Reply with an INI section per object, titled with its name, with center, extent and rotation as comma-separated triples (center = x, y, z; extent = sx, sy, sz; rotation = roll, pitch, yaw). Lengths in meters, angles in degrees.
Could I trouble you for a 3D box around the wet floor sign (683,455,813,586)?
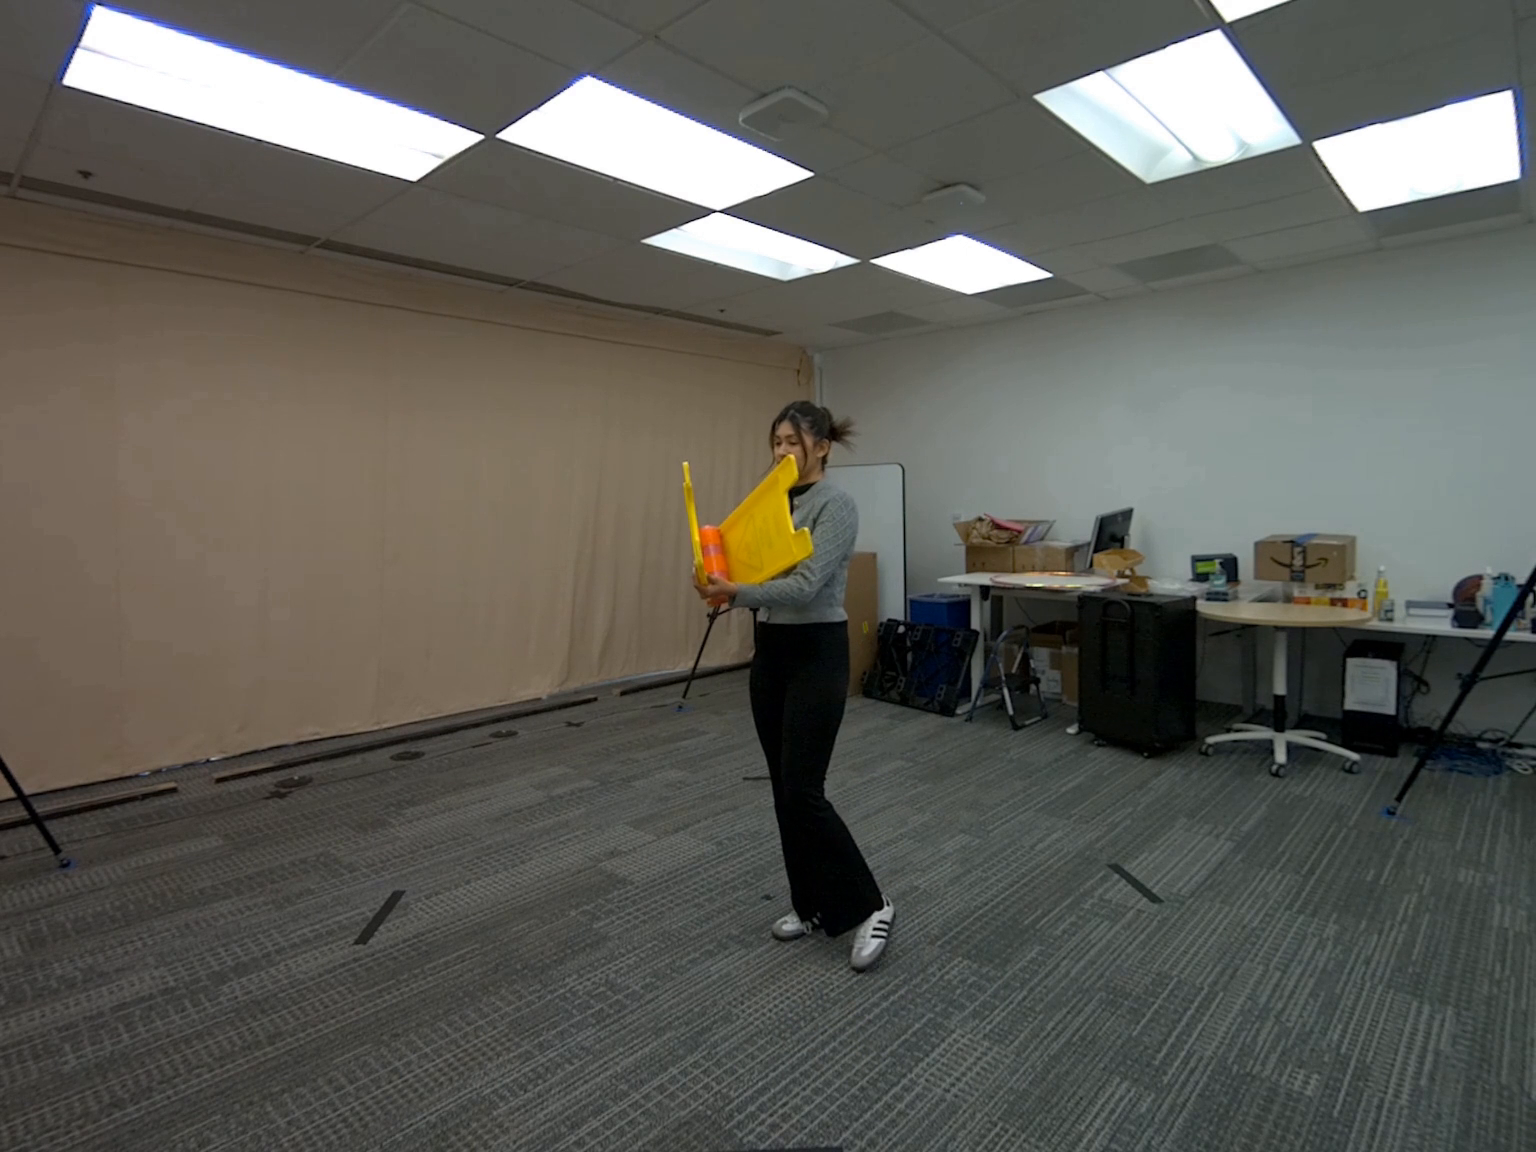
[wet floor sign]
center = -0.125, -0.081, 2.423
extent = 0.285, 0.286, 0.647
rotation = -5, -17, -16
